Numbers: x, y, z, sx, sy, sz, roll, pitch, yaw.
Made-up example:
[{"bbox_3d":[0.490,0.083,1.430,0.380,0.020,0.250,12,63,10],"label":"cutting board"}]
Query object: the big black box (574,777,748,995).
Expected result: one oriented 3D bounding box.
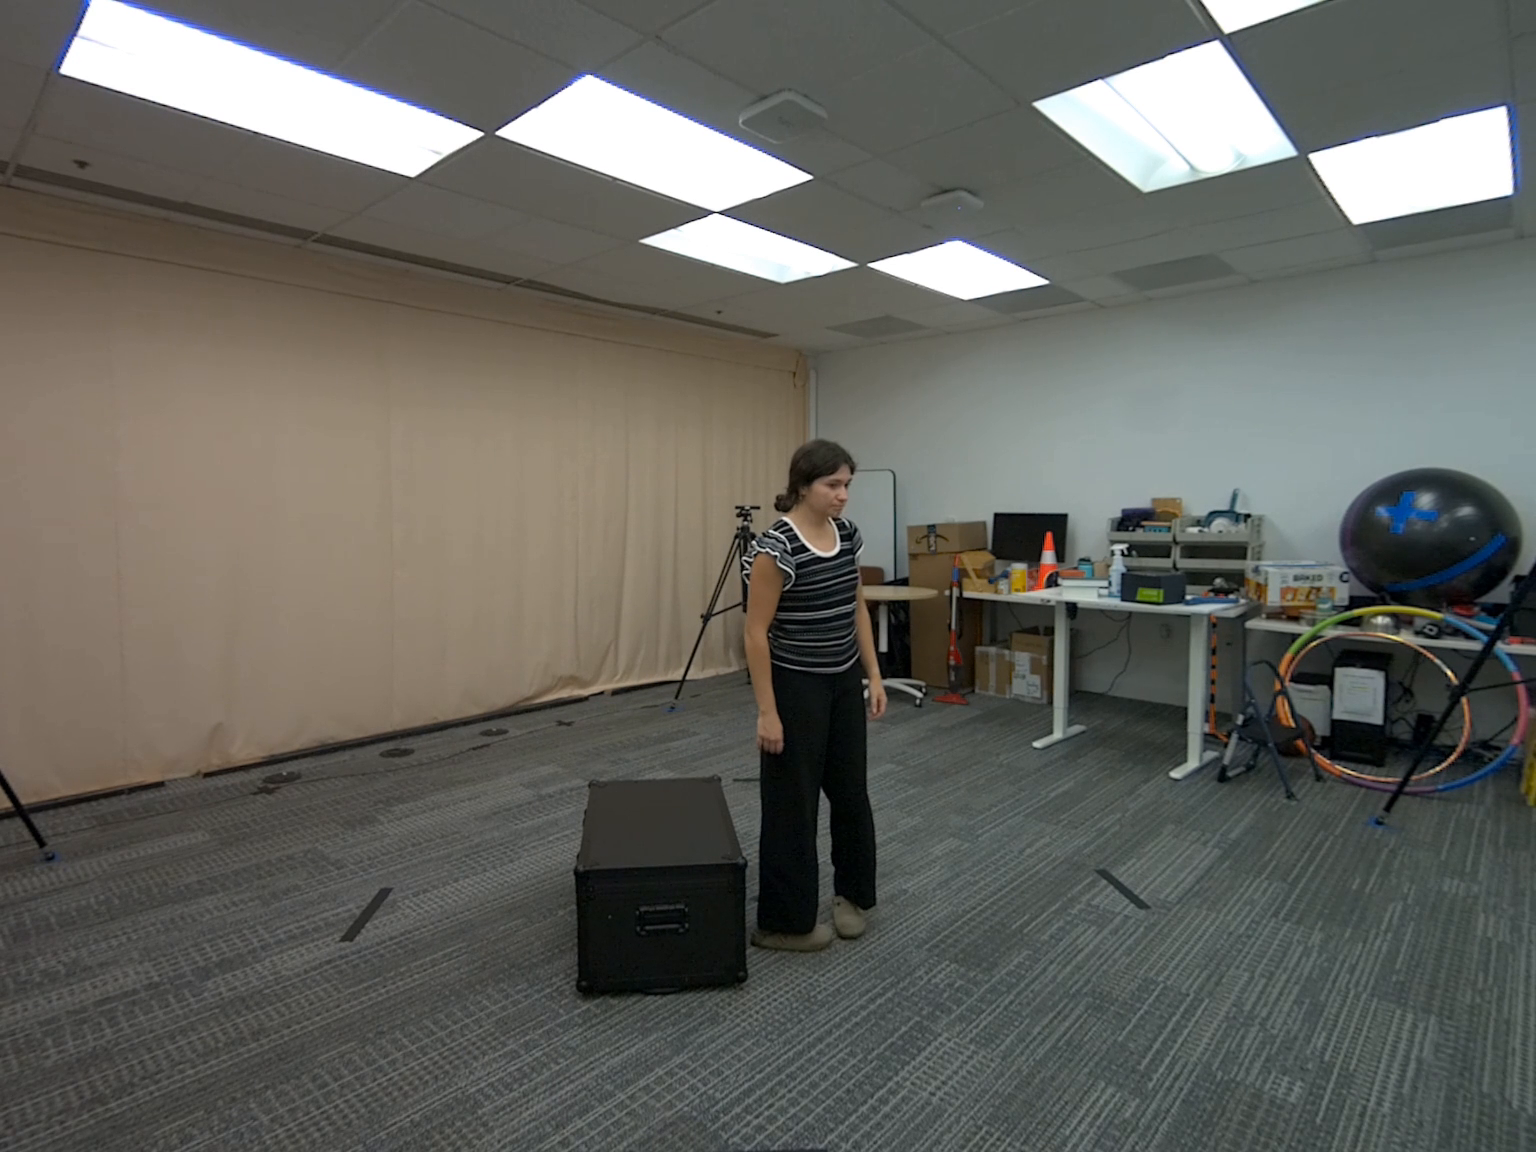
[{"bbox_3d":[-0.359,0.969,2.803,0.517,0.395,0.871,-1,5,-9],"label":"big black box"}]
